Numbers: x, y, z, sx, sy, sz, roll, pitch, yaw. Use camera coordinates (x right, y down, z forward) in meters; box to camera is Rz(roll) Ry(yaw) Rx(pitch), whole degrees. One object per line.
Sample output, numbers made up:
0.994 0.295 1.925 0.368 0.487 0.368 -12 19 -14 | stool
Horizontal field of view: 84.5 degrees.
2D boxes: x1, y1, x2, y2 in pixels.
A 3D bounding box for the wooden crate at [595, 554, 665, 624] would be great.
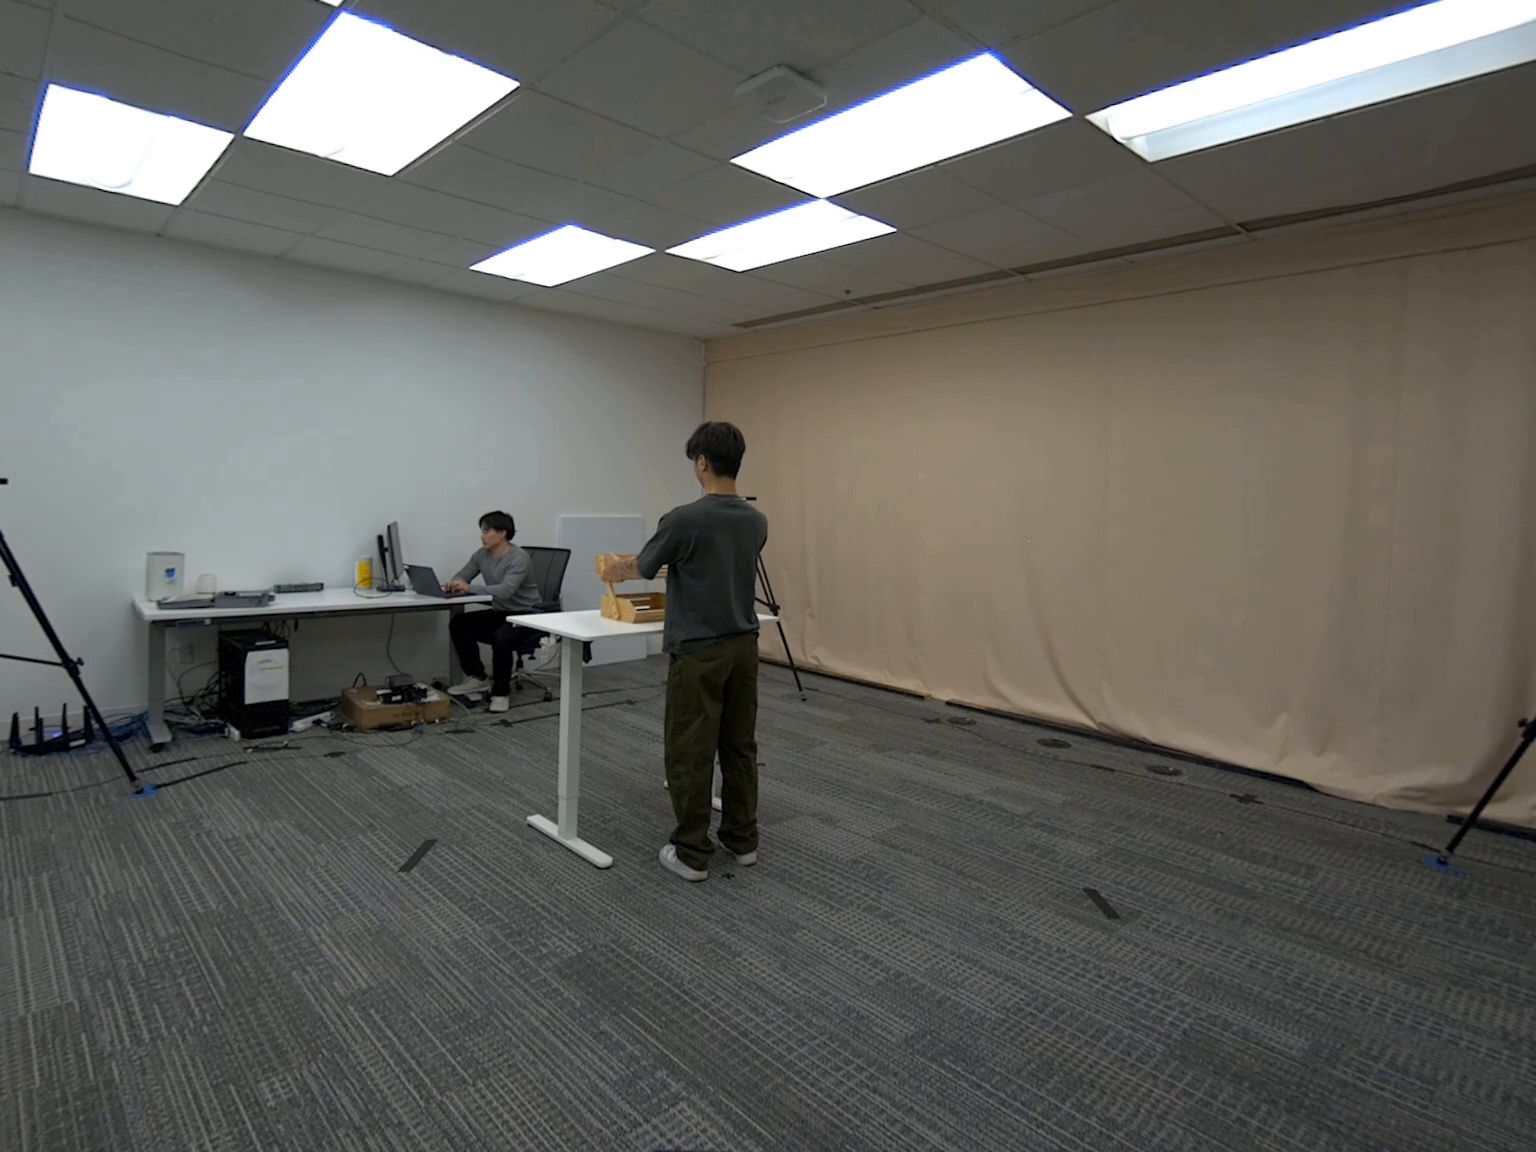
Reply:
-0.534 0.043 3.565 0.317 0.273 0.310 -1 4 -44 | wooden crate
